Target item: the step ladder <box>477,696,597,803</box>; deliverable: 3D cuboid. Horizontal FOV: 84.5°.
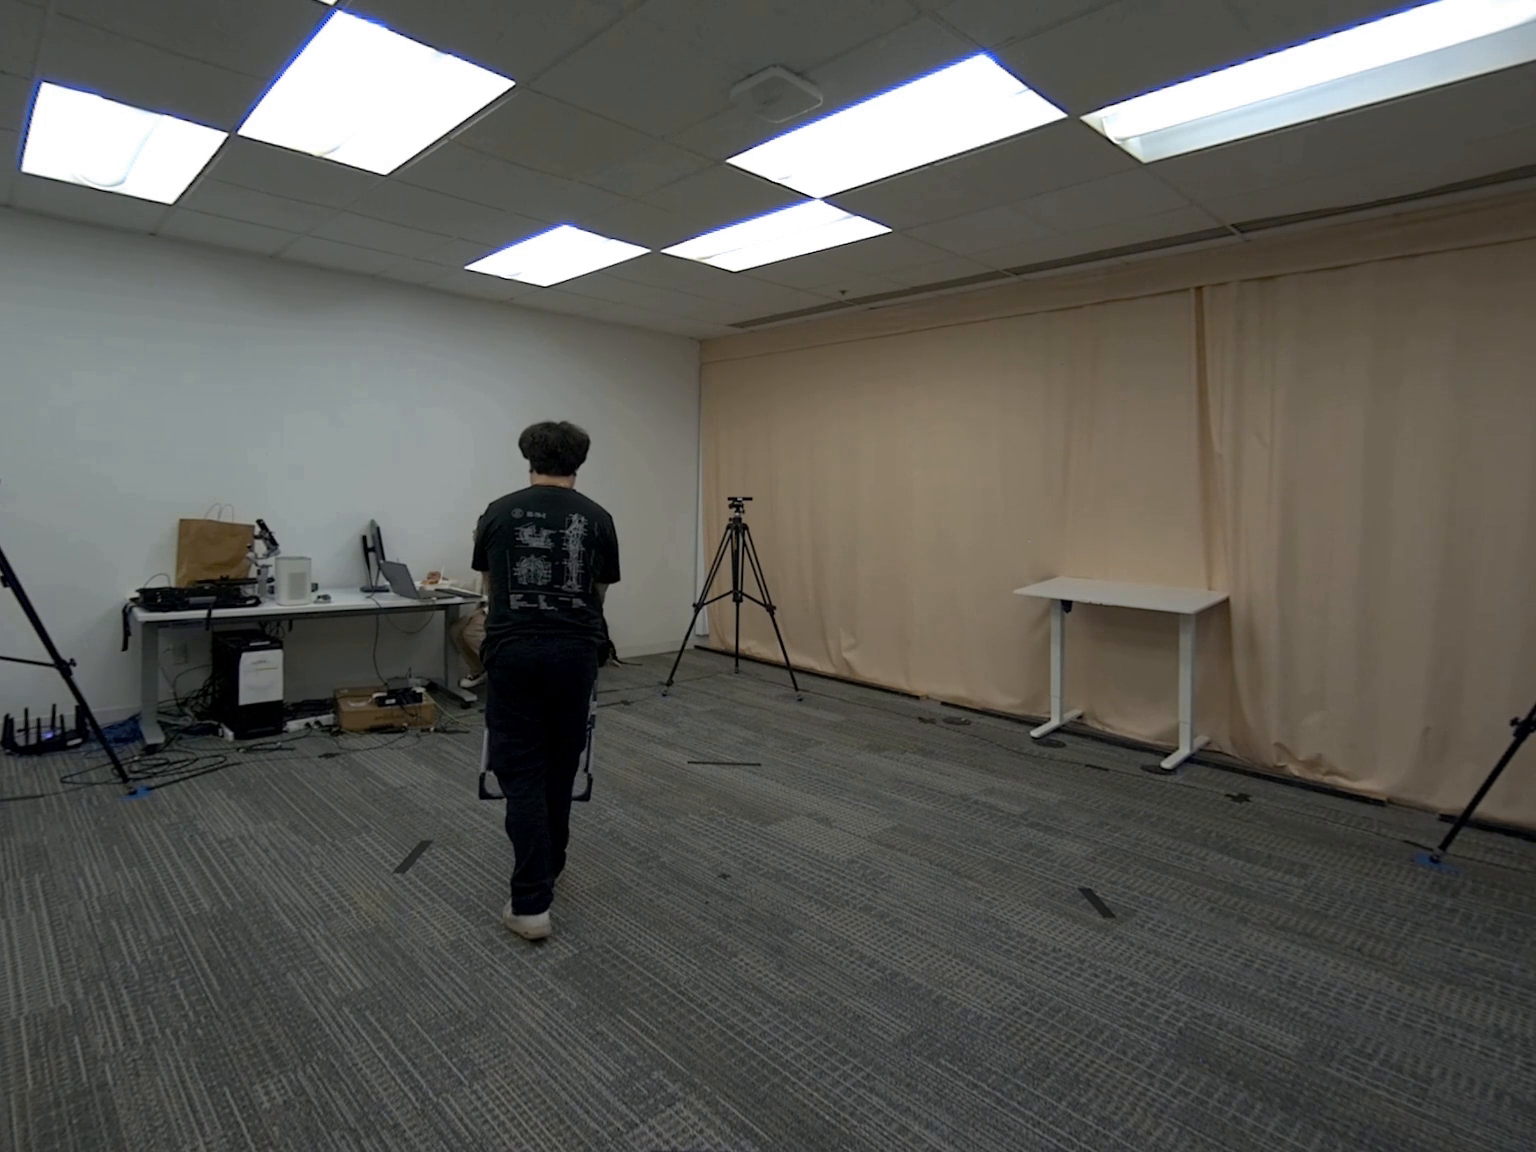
[{"bbox_3d":[-0.894,0.532,3.297,0.426,0.604,0.354,4,6,-13],"label":"step ladder"}]
